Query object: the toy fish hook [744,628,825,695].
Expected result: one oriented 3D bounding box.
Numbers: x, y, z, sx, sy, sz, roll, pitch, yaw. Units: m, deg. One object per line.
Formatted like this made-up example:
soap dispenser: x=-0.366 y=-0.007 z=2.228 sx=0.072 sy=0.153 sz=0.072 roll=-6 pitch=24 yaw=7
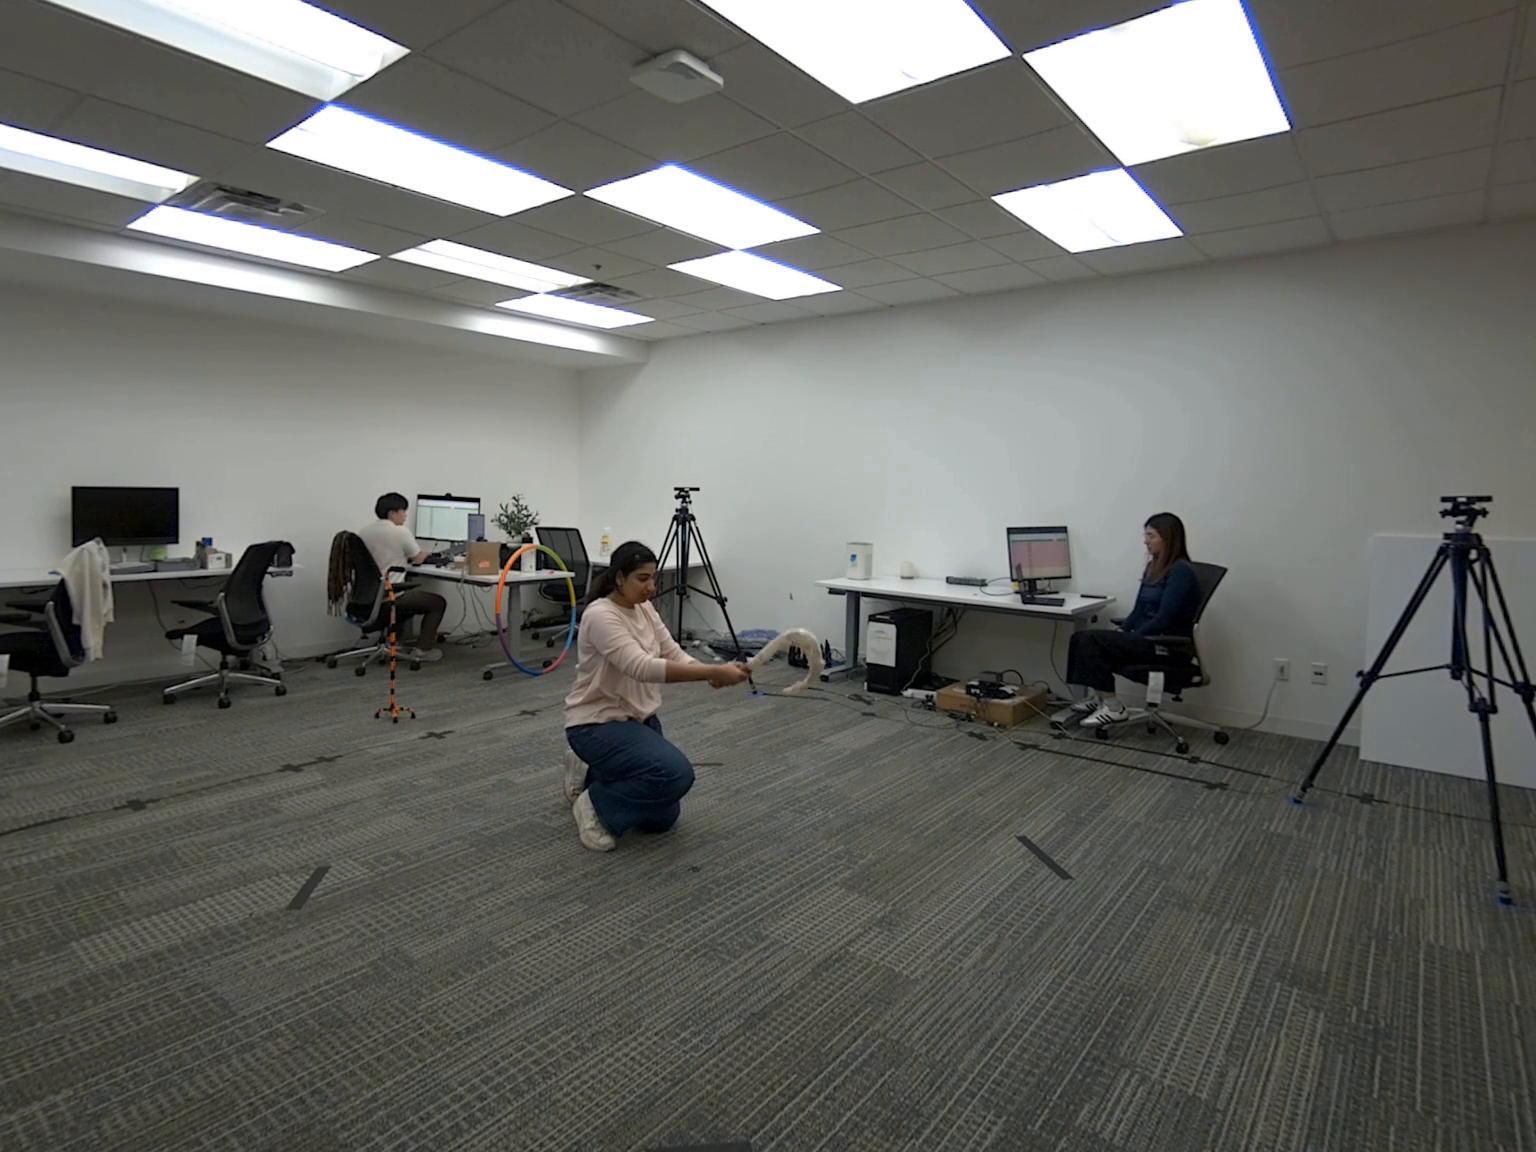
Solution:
toy fish hook: x=-0.035 y=0.345 z=3.133 sx=0.513 sy=0.230 sz=0.046 roll=-27 pitch=-25 yaw=31
